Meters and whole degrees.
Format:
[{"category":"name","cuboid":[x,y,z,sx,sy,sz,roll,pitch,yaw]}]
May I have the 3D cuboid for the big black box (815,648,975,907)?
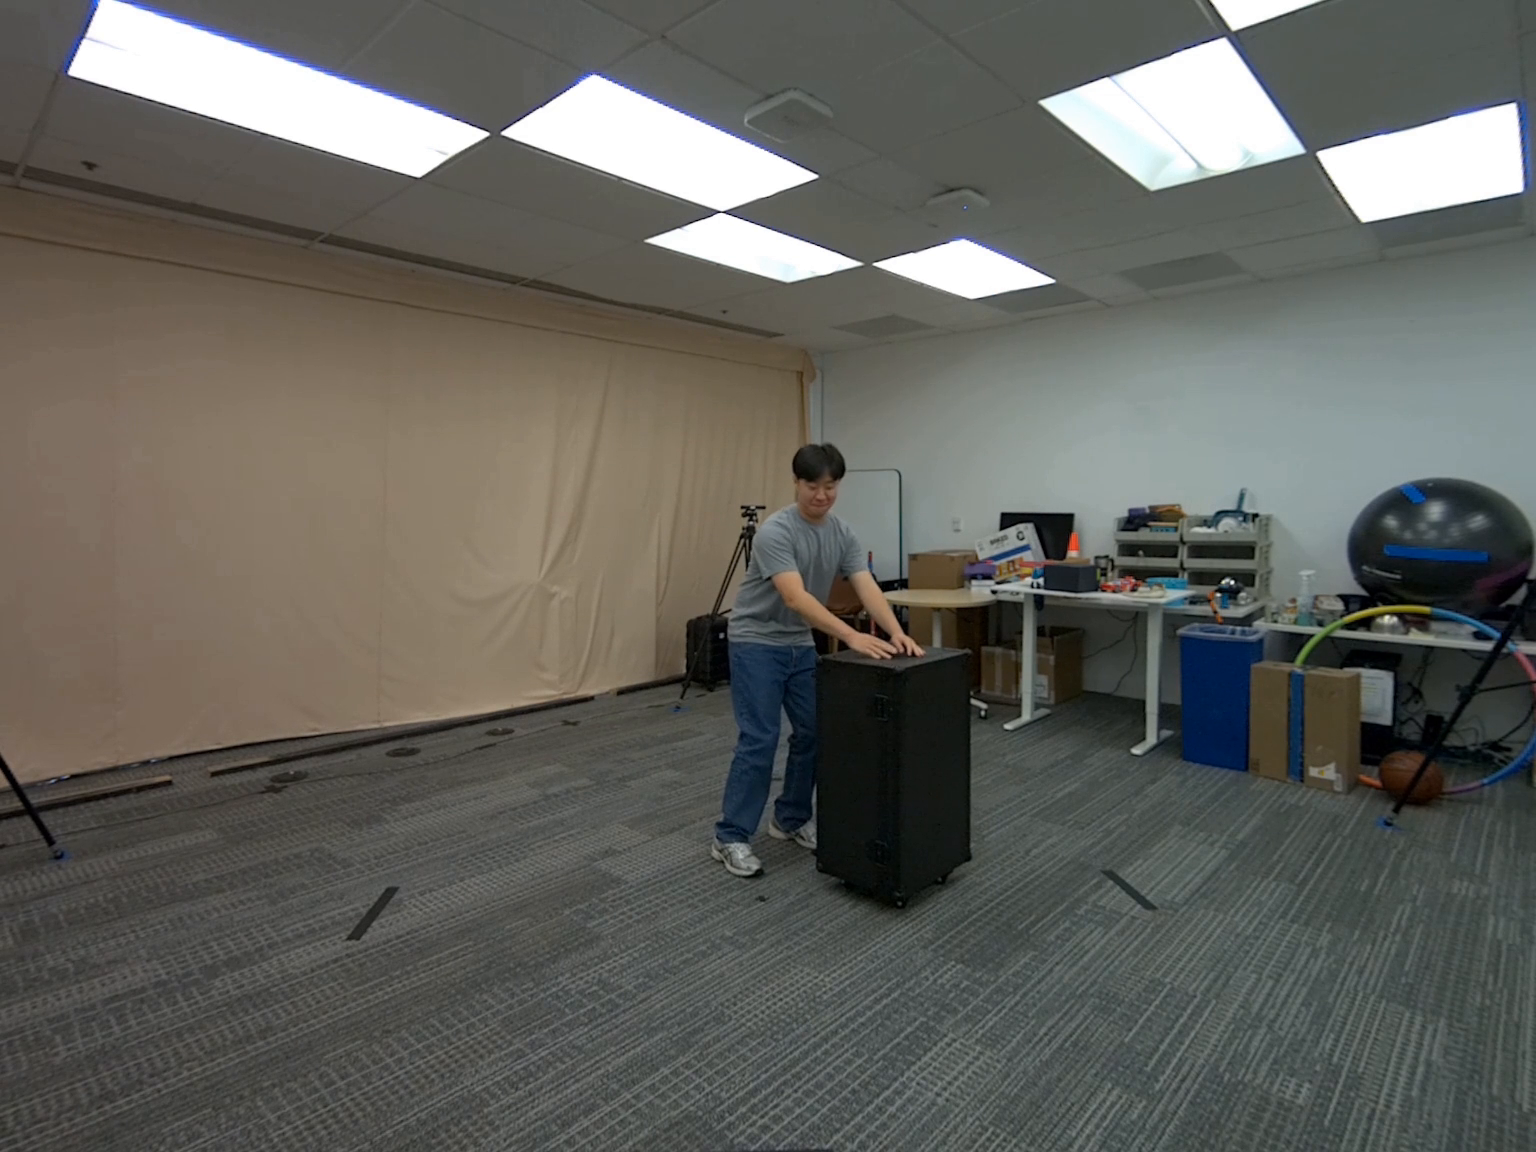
[{"category":"big black box","cuboid":[0.461,0.710,3.082,0.409,0.860,0.505,1,3,43]}]
